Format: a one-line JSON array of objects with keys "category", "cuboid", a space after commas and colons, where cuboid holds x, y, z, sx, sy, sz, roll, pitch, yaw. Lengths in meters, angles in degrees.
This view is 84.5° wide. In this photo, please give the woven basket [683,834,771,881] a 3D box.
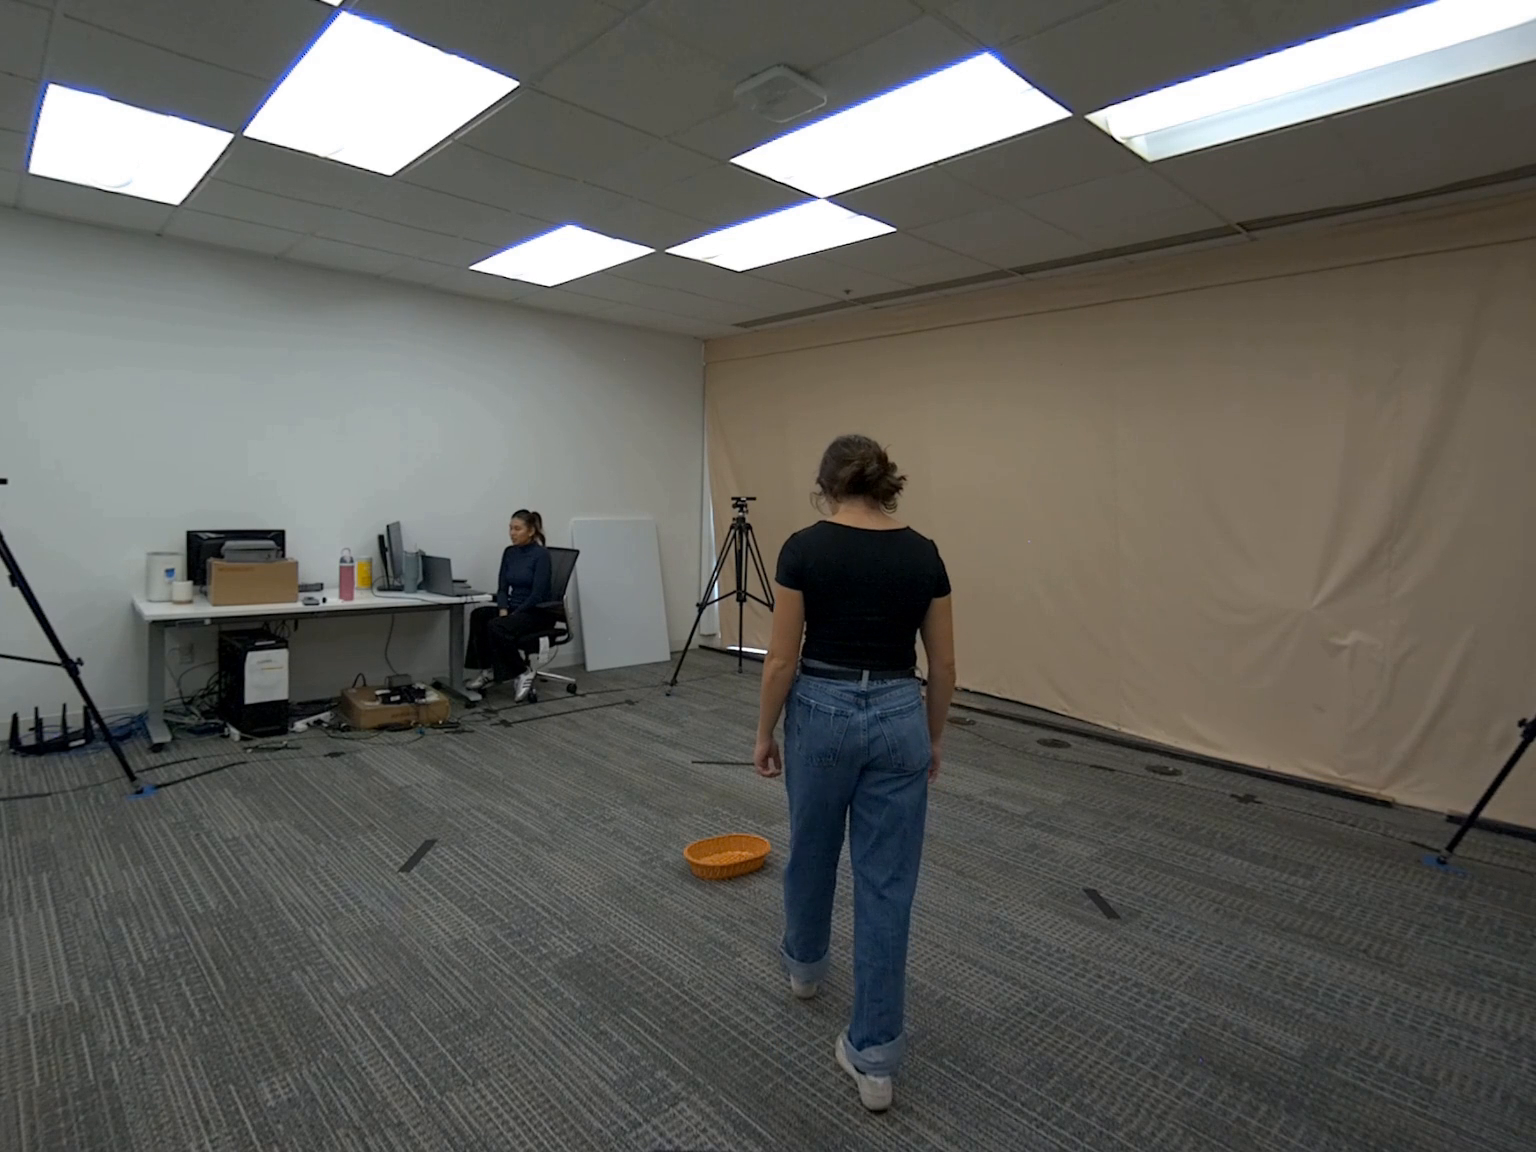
[{"category": "woven basket", "cuboid": [-0.158, 1.060, 3.181, 0.343, 0.073, 0.258, -2, 5, -31]}]
